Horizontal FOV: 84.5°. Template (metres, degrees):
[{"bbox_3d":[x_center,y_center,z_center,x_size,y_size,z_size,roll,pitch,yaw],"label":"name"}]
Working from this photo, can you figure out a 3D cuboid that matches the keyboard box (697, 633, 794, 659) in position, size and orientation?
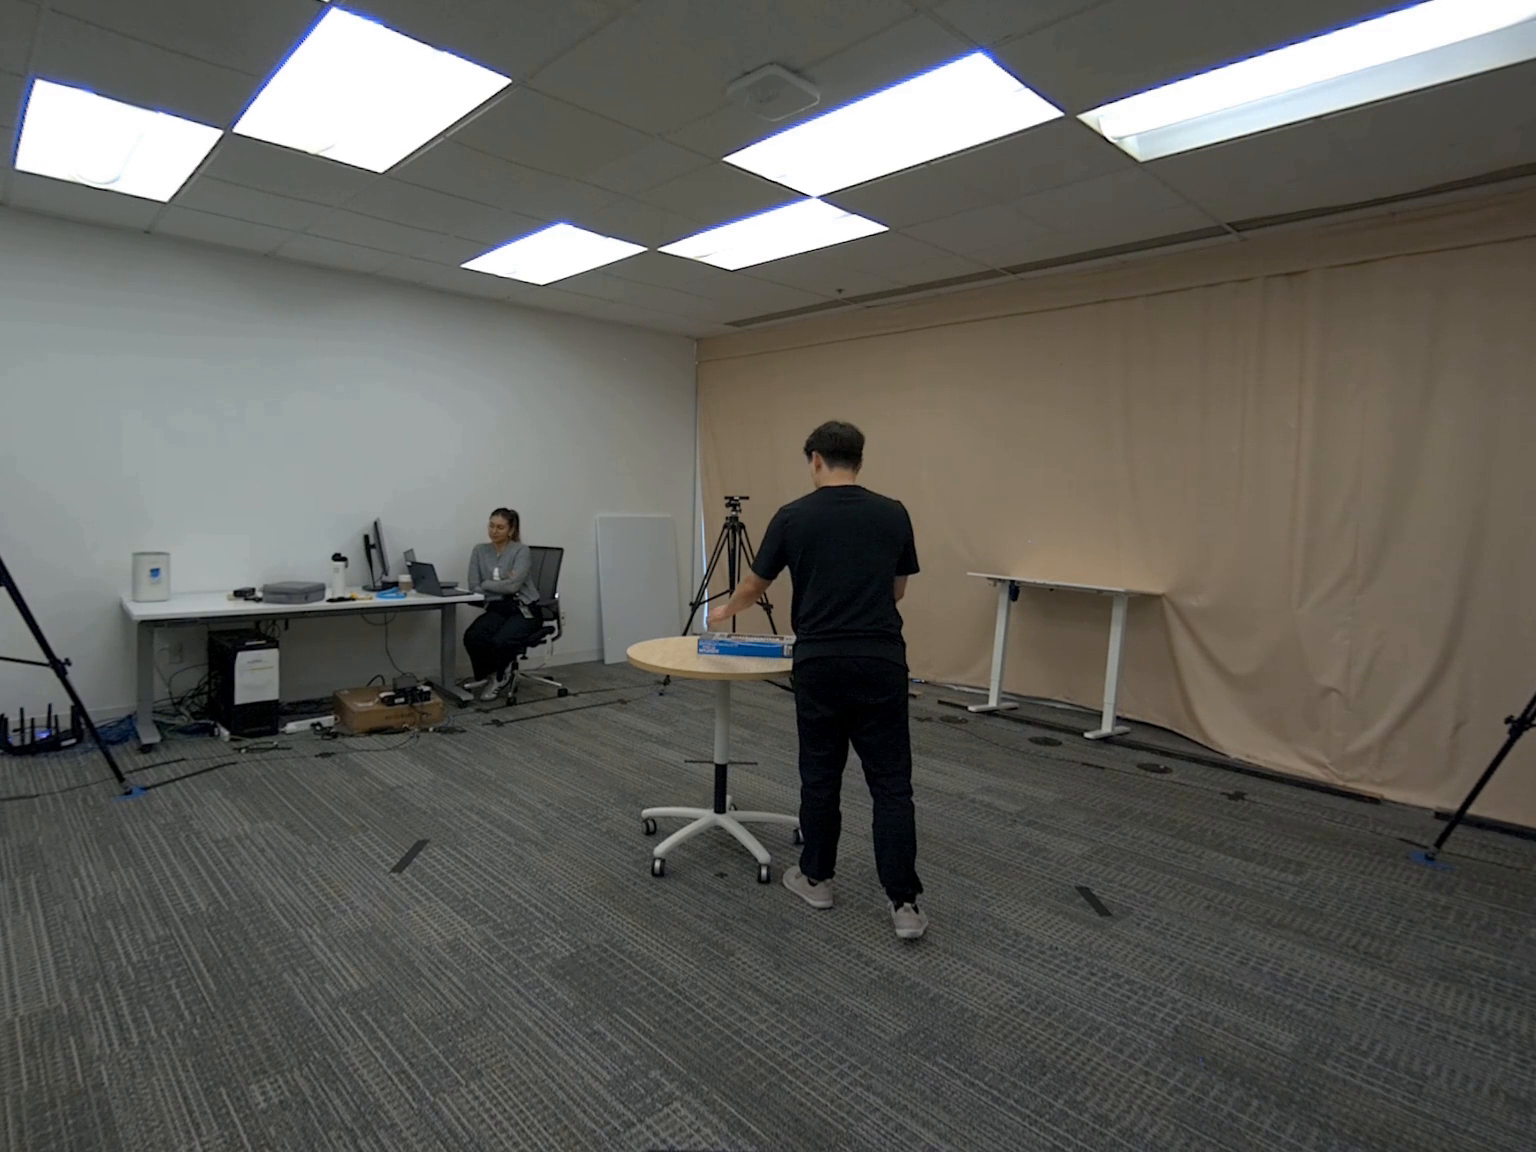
[{"bbox_3d":[-0.058,0.274,3.335,0.438,0.059,0.176,2,4,4],"label":"keyboard box"}]
